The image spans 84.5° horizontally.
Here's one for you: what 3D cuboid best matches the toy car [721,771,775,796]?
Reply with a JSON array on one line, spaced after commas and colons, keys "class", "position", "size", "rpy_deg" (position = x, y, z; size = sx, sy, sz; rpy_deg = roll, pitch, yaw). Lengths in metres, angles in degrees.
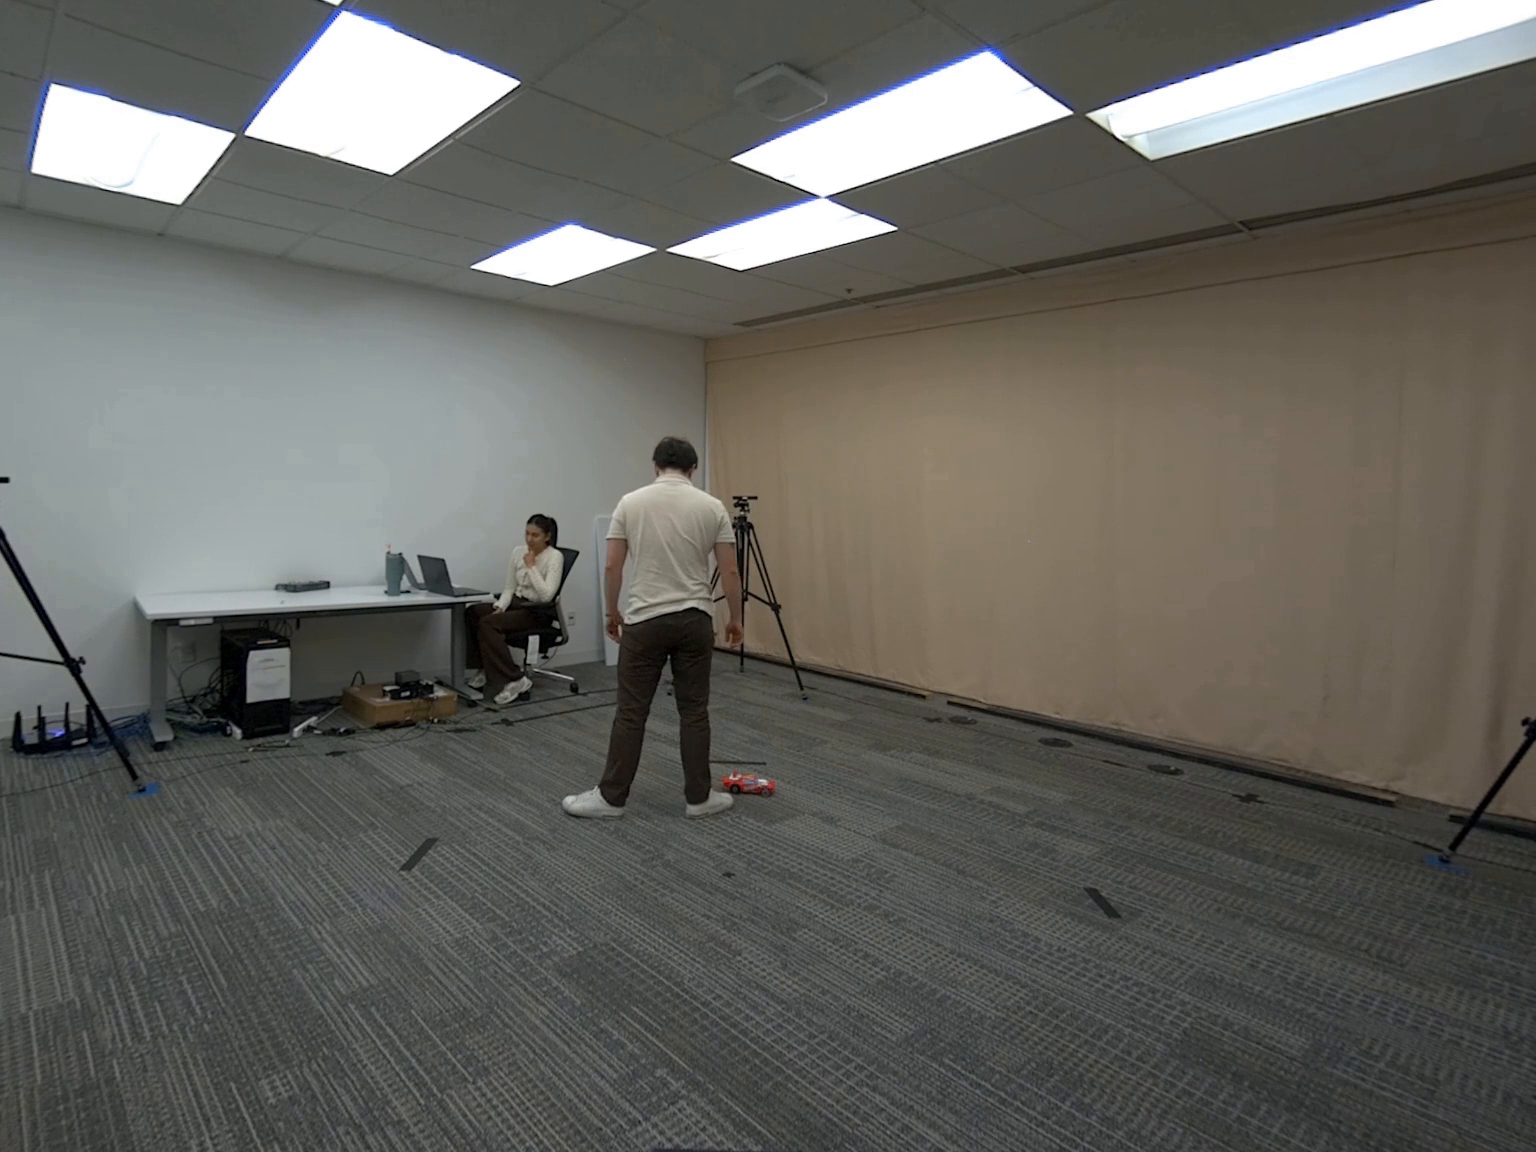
[{"class": "toy car", "position": [-0.112, 0.995, 4.018], "size": [0.257, 0.083, 0.129], "rpy_deg": [14, 7, 9]}]
